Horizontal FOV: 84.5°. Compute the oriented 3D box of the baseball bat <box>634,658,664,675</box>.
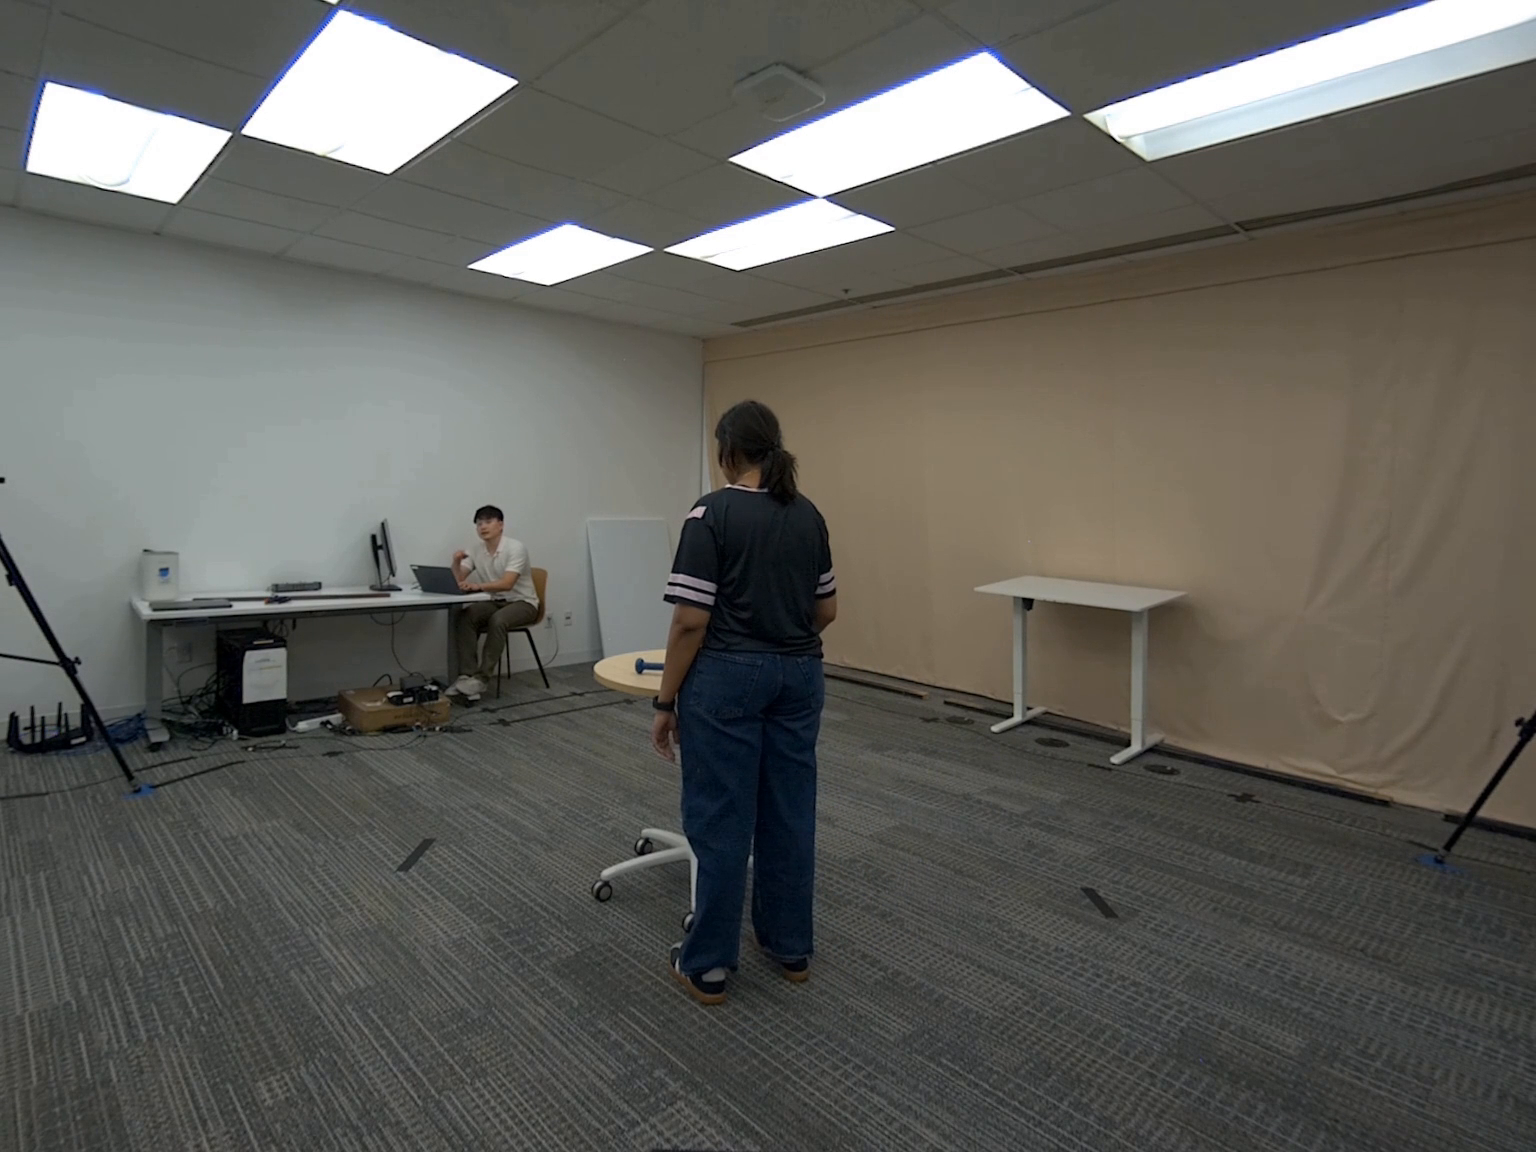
[{"bbox_3d":[-0.180,0.311,2.809,0.545,0.089,0.089,-1,4,4],"label":"baseball bat"}]
